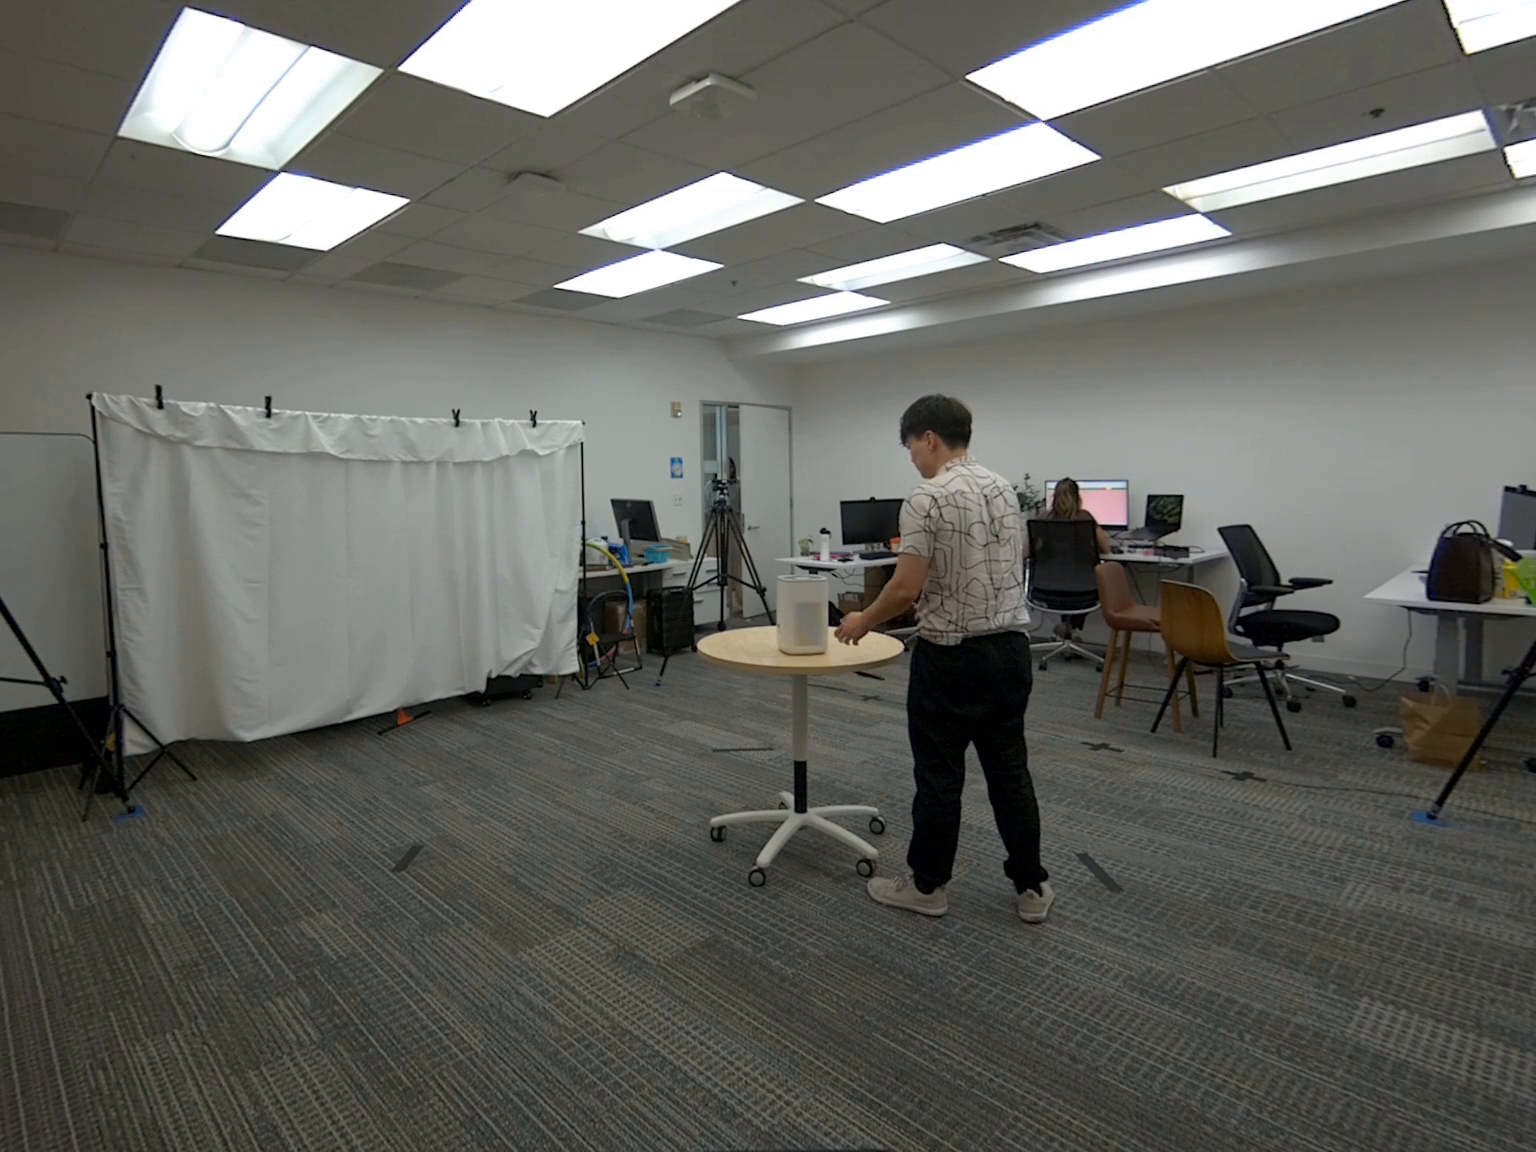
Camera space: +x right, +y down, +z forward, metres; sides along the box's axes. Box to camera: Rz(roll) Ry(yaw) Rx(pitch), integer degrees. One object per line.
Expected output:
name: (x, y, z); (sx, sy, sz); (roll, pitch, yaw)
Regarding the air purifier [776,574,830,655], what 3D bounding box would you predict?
air purifier: (0.126, 0.139, 3.053); (0.170, 0.264, 0.173); (-1, 5, -11)
